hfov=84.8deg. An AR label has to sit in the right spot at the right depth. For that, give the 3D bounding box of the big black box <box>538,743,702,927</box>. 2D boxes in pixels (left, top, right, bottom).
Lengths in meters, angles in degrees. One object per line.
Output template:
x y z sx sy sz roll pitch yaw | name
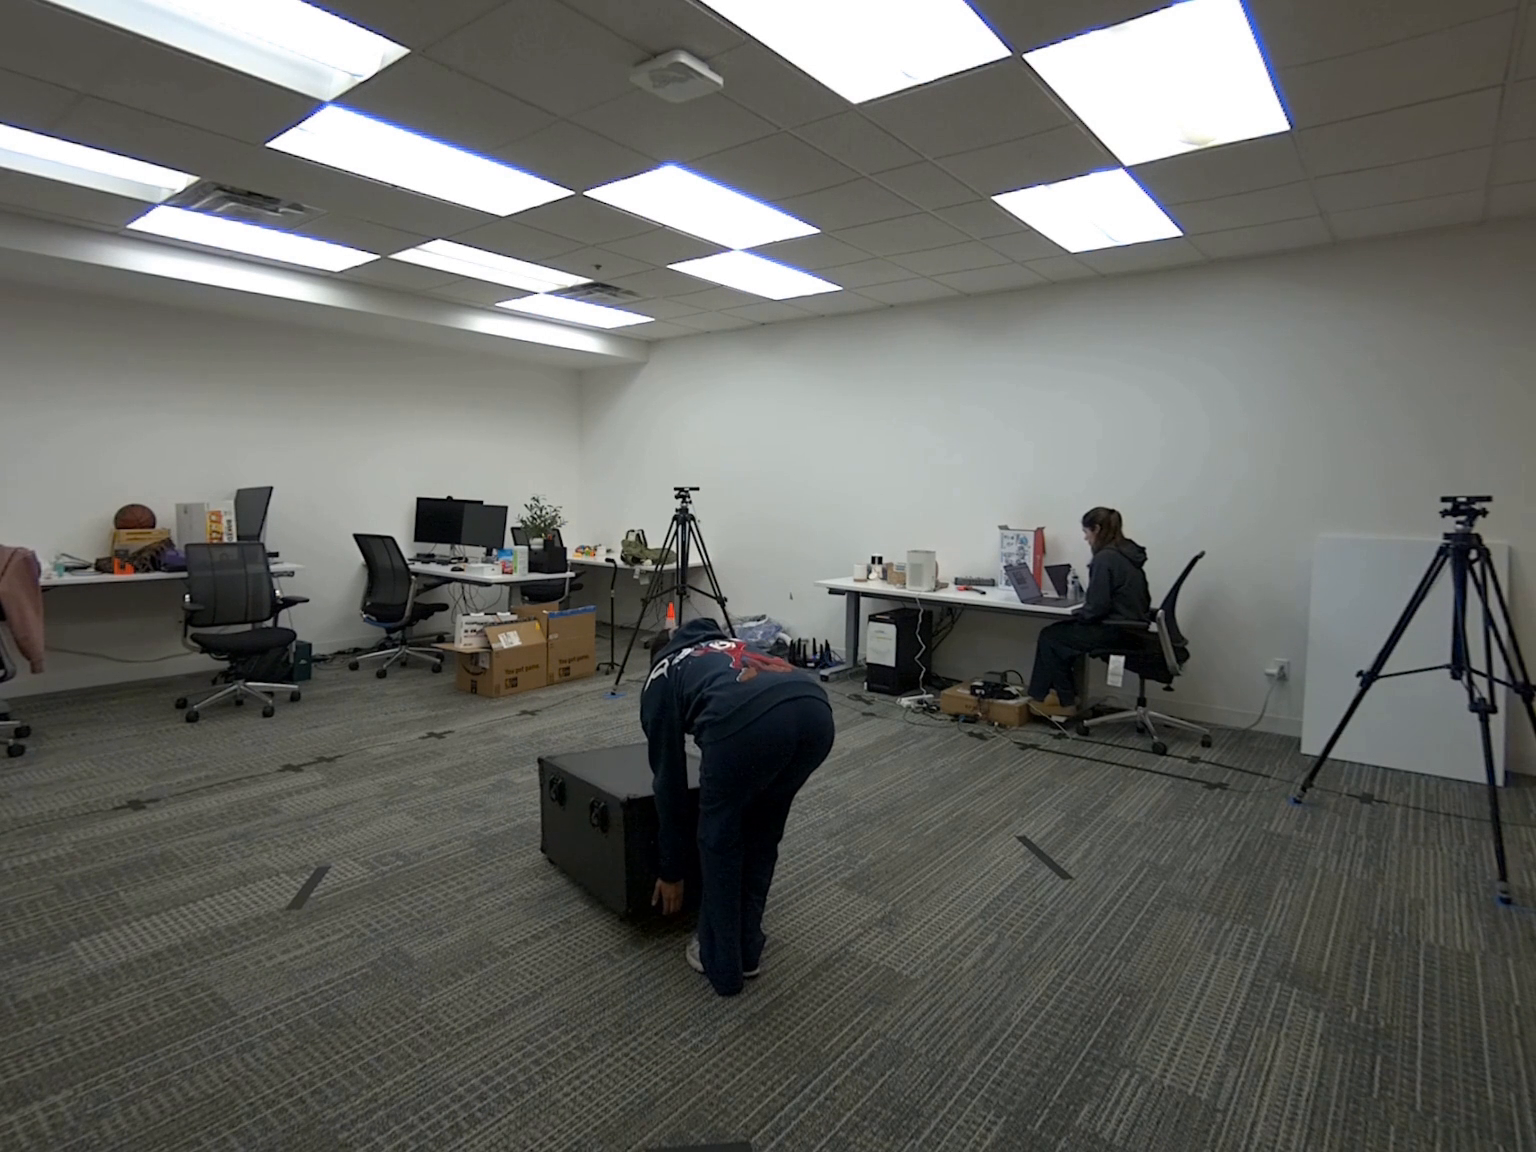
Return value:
-0.499 0.857 3.007 0.385 0.521 0.886 -1 1 -33 | big black box
